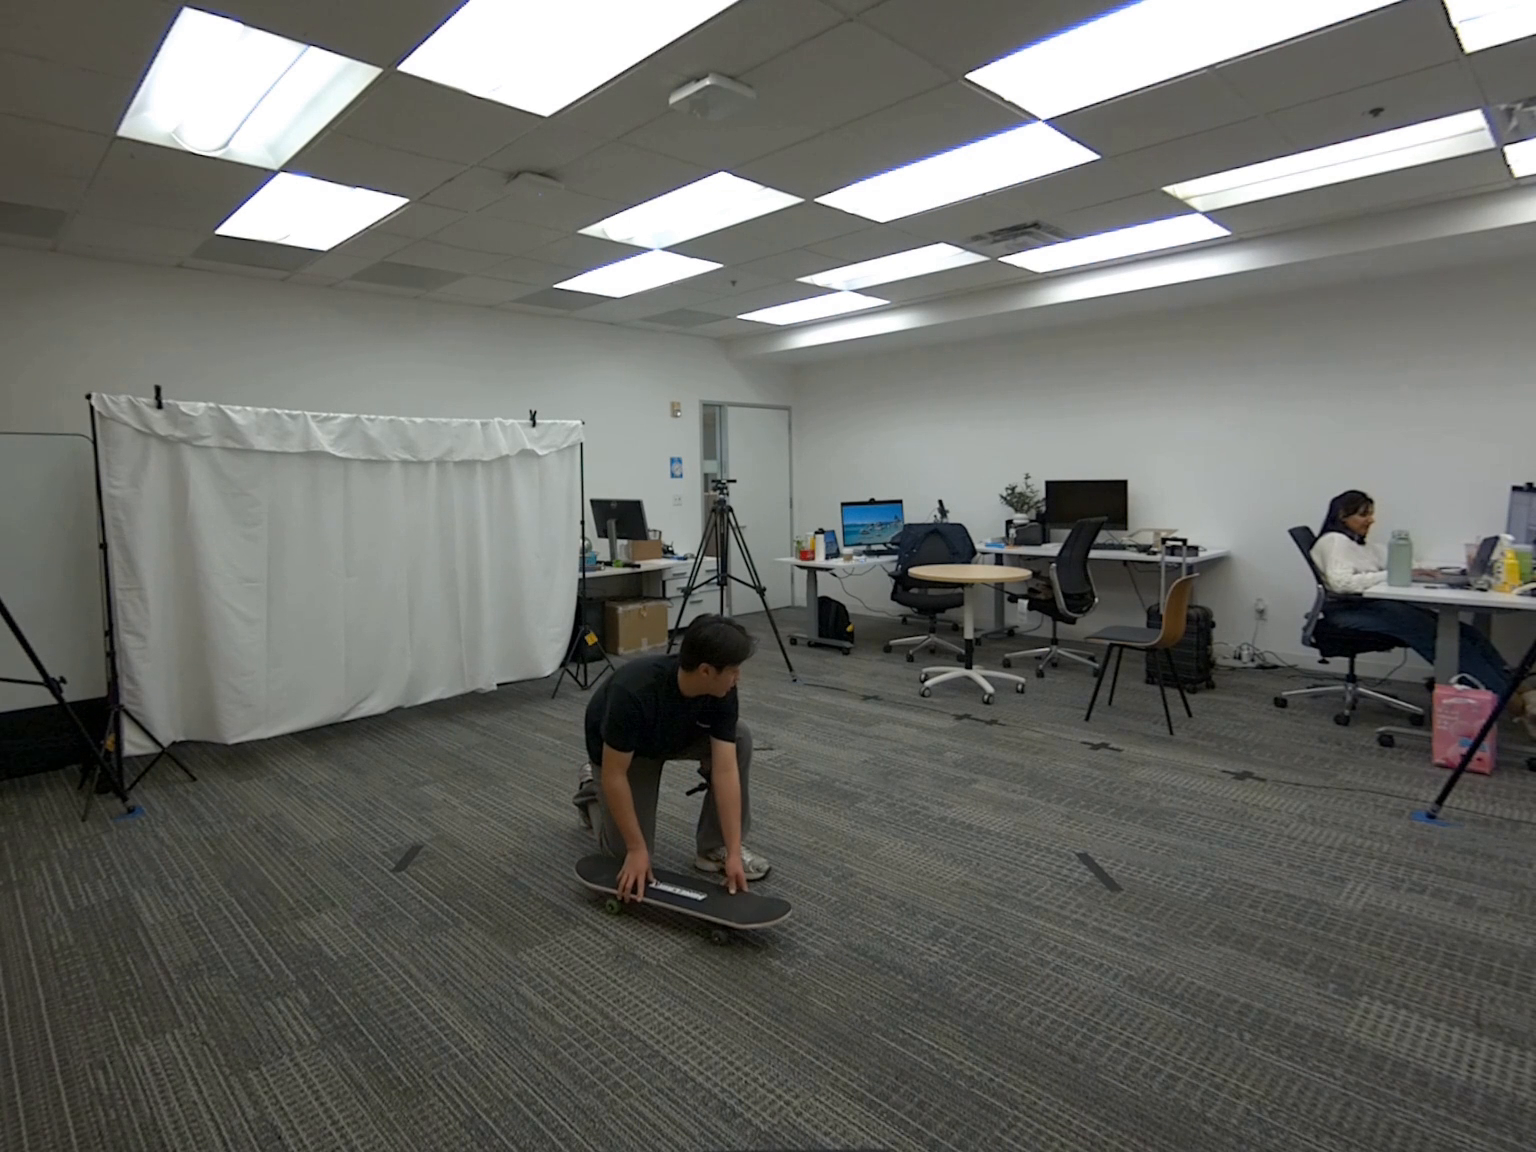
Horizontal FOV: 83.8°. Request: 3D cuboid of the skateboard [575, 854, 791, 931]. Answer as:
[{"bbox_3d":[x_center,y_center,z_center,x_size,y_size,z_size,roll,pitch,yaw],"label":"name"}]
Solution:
[{"bbox_3d":[-0.281,1.036,2.736,0.805,0.110,0.189,2,7,29],"label":"skateboard"}]
